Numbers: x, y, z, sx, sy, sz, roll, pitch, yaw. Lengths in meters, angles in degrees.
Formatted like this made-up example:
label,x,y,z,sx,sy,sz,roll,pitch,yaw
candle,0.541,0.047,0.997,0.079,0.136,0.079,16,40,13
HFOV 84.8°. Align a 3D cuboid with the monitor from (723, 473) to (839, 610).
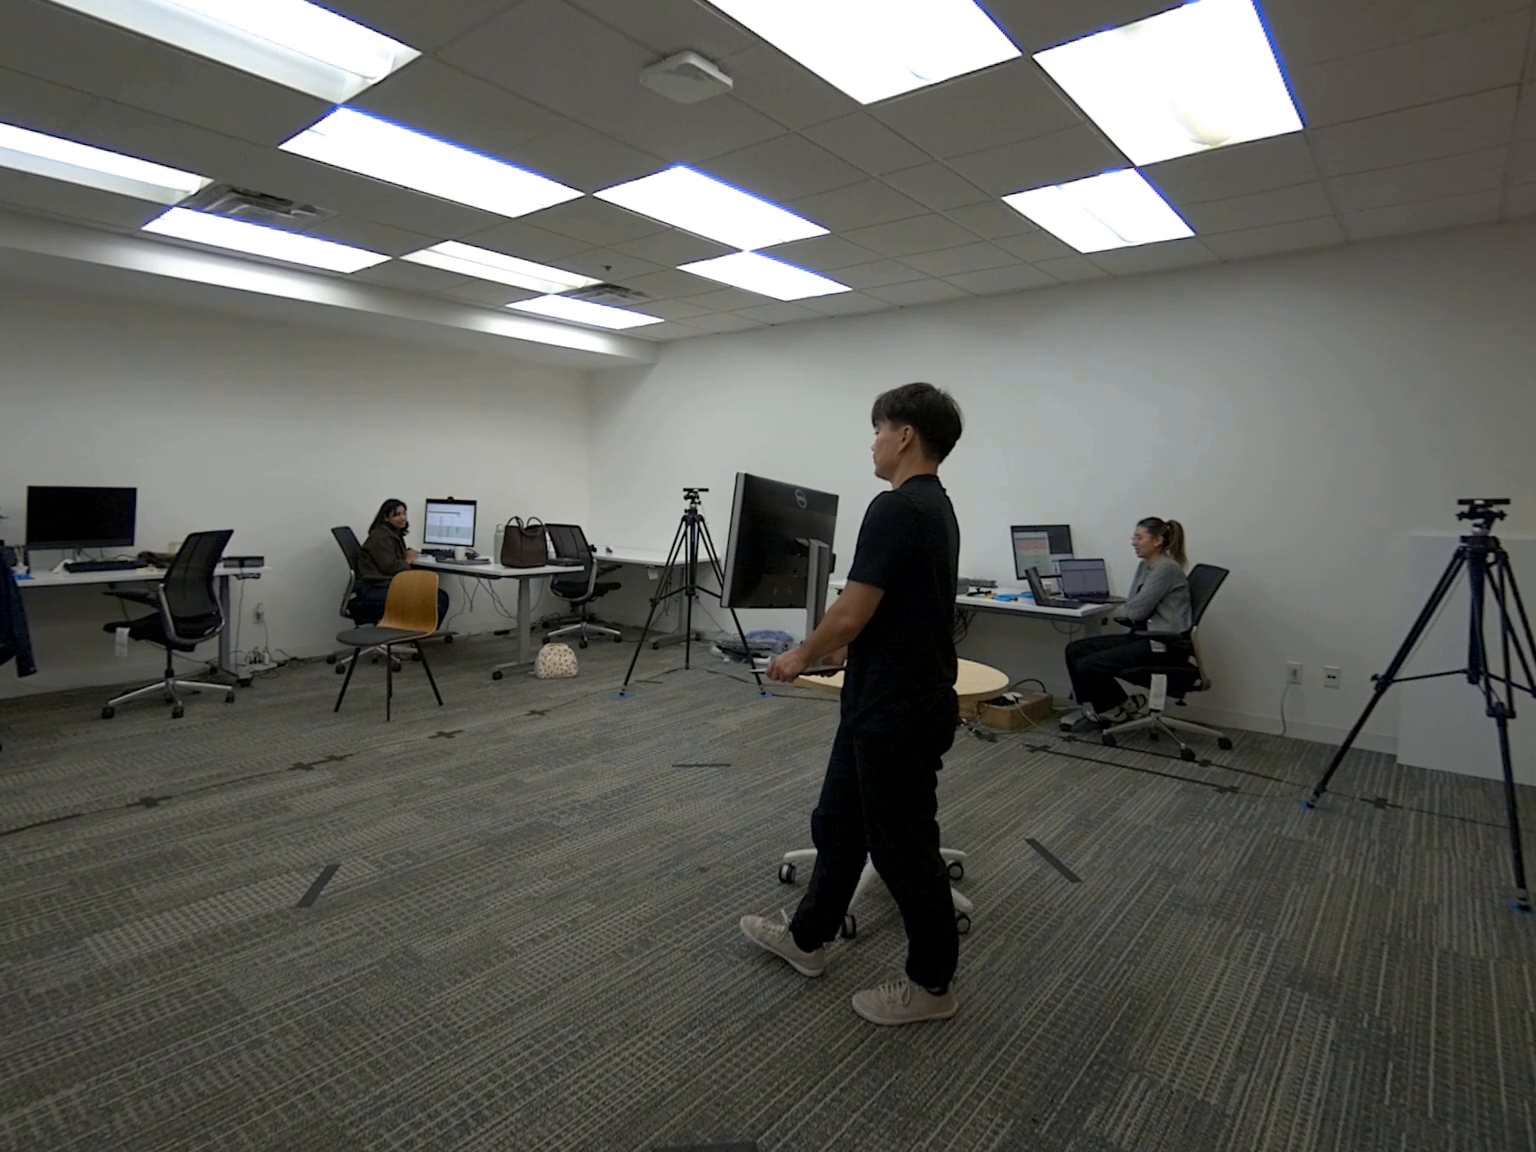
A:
label,x,y,z,sx,sy,sz,roll,pitch,yaw
monitor,0.070,-0.001,2.449,0.192,0.526,0.522,-8,-7,32
